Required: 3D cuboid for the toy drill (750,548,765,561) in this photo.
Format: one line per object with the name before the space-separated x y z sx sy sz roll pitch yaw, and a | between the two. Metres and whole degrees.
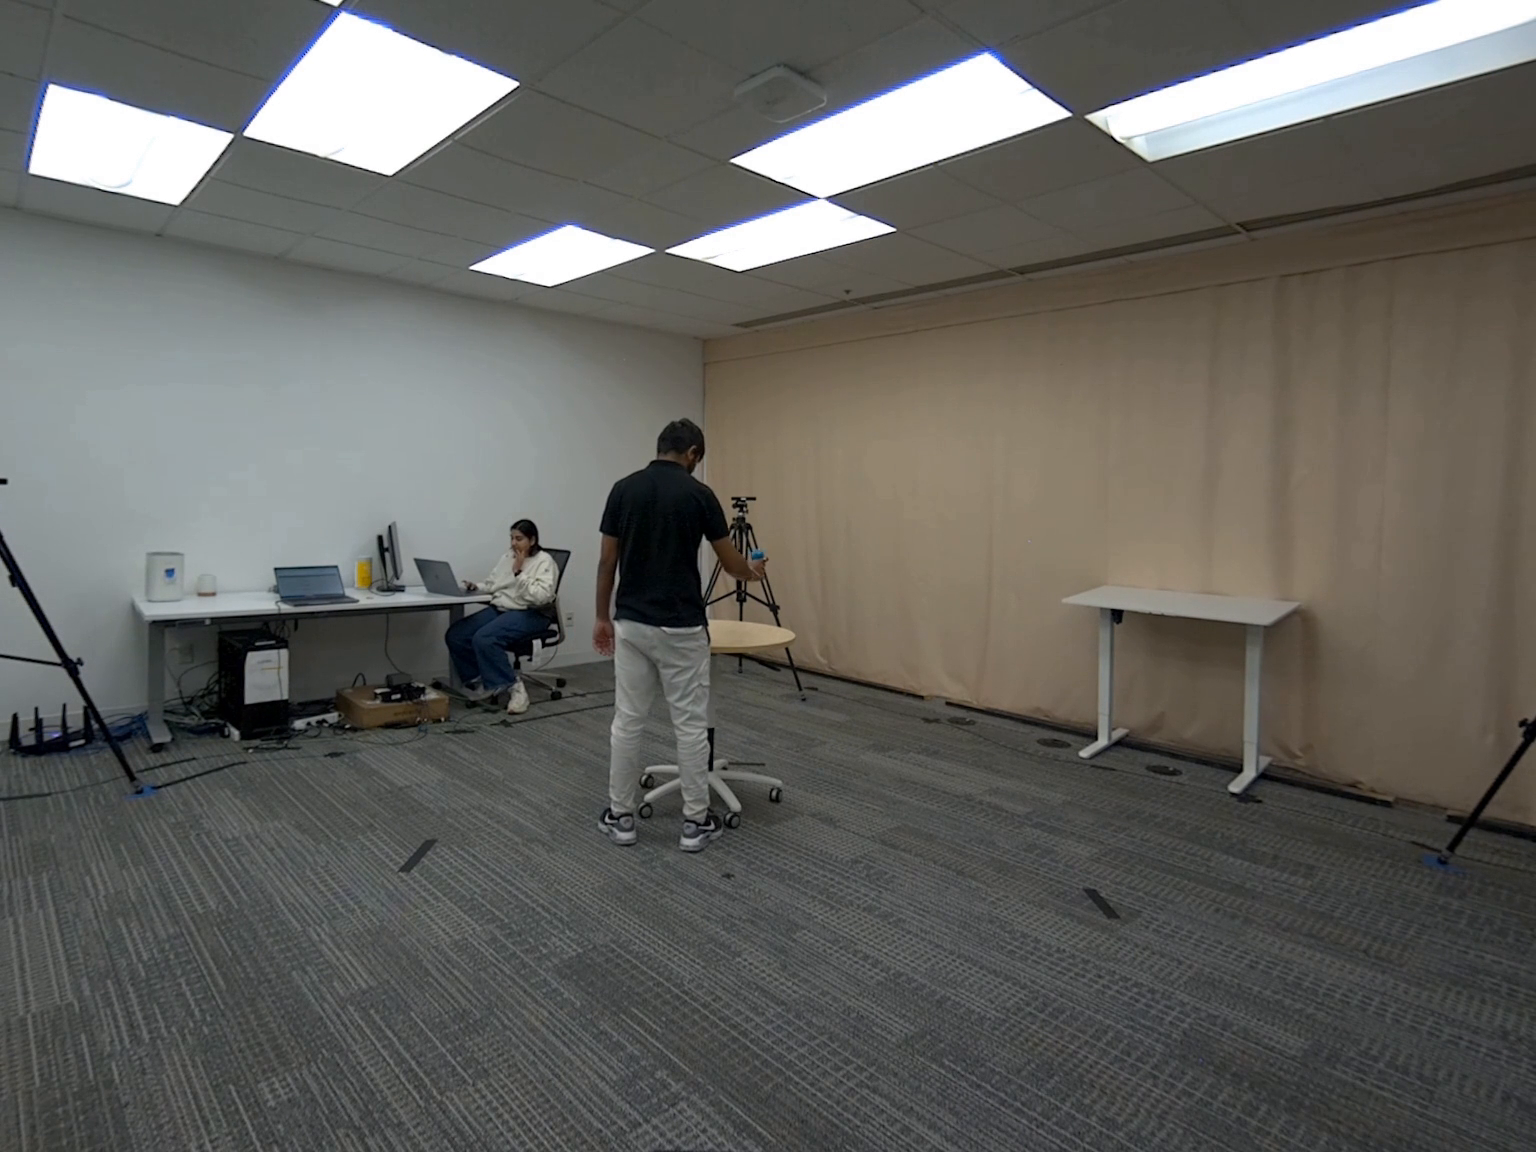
toy drill | -0.061 -0.050 3.779 0.061 0.146 0.170 8 -5 -5
